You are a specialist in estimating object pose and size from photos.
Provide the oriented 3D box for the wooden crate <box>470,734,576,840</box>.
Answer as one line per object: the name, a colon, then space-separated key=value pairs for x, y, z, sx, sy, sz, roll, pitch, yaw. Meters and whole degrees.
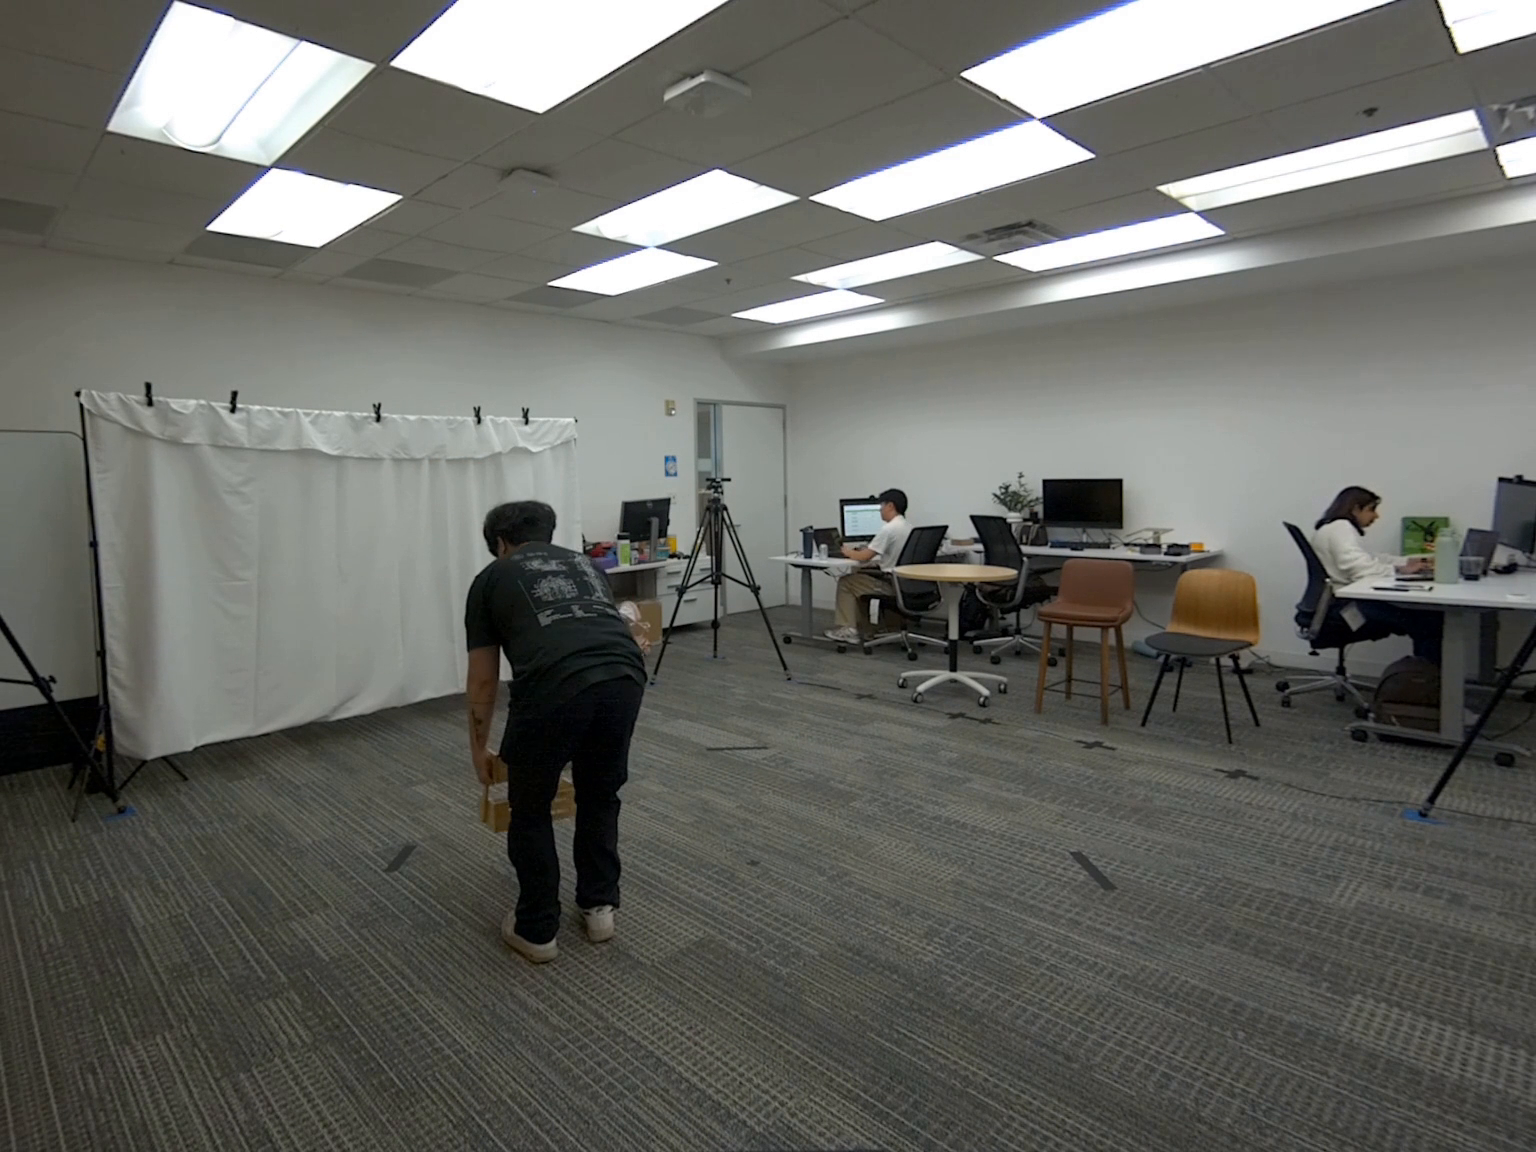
wooden crate: x=-0.804 y=0.687 z=2.908 sx=0.316 sy=0.274 sz=0.309 roll=-3 pitch=-2 yaw=-32
